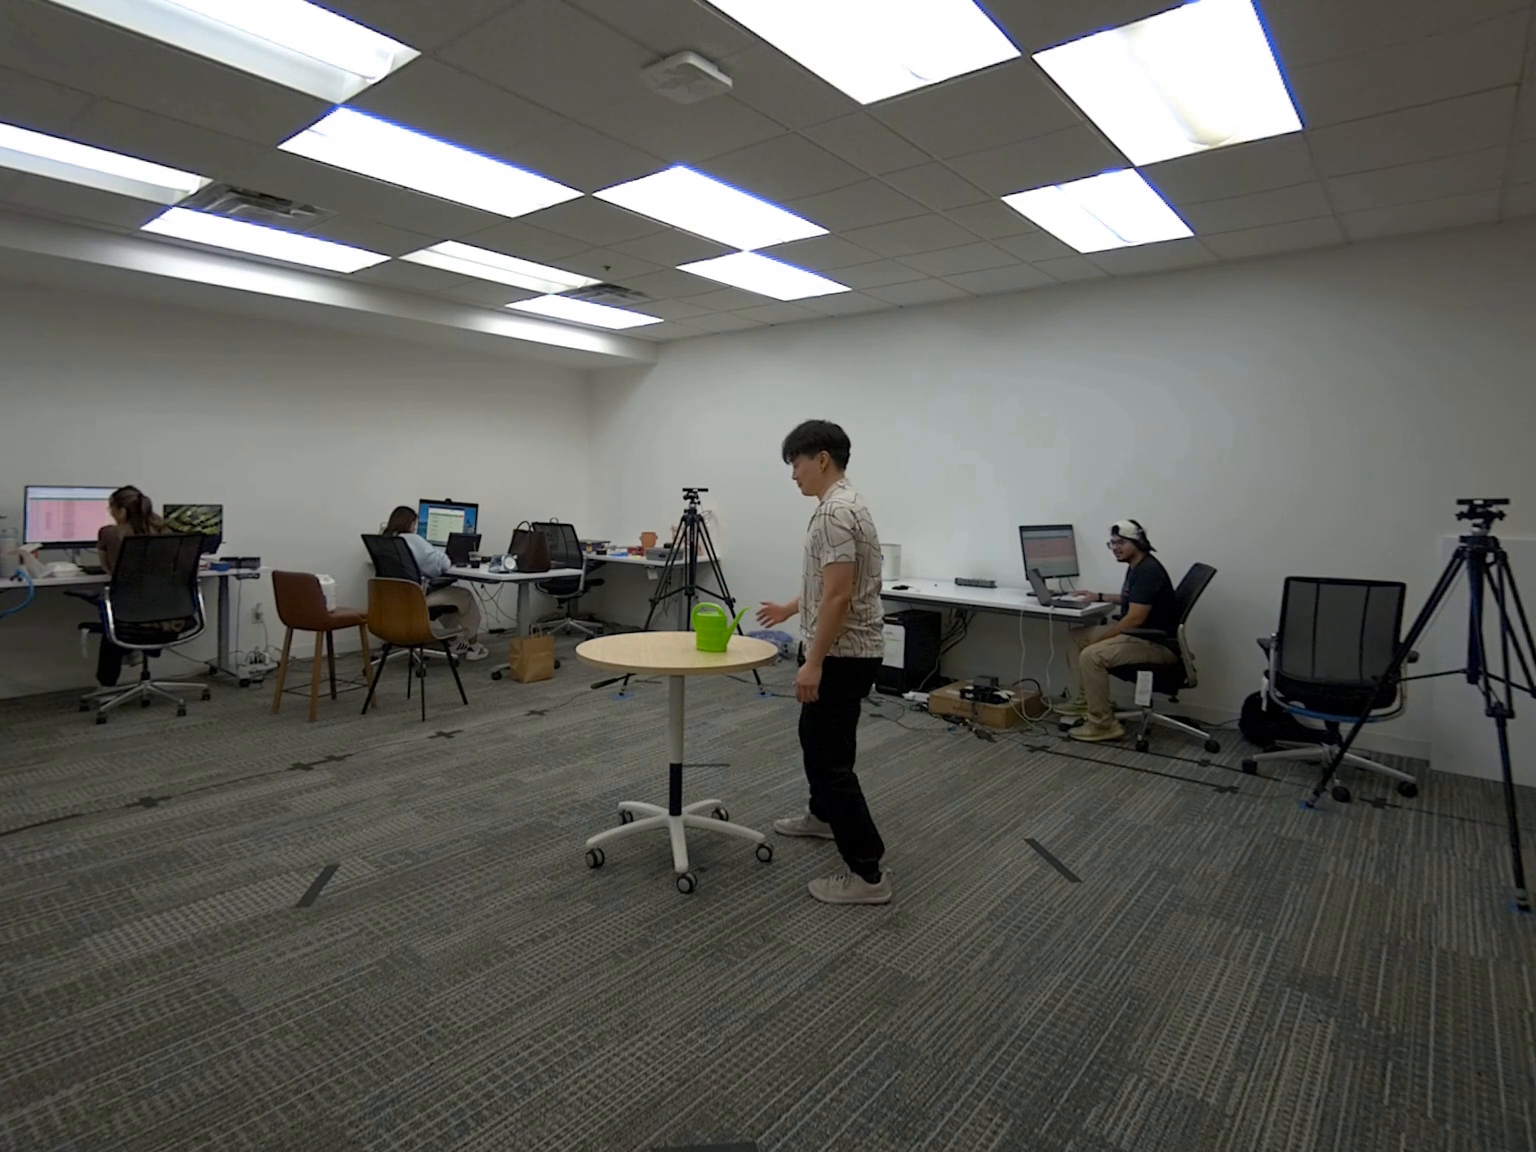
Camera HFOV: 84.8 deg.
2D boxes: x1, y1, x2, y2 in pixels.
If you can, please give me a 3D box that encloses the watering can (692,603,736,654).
[{"bbox_3d":[-0.191,0.188,3.185,0.095,0.177,0.287,-1,2,-42],"label":"watering can"}]
